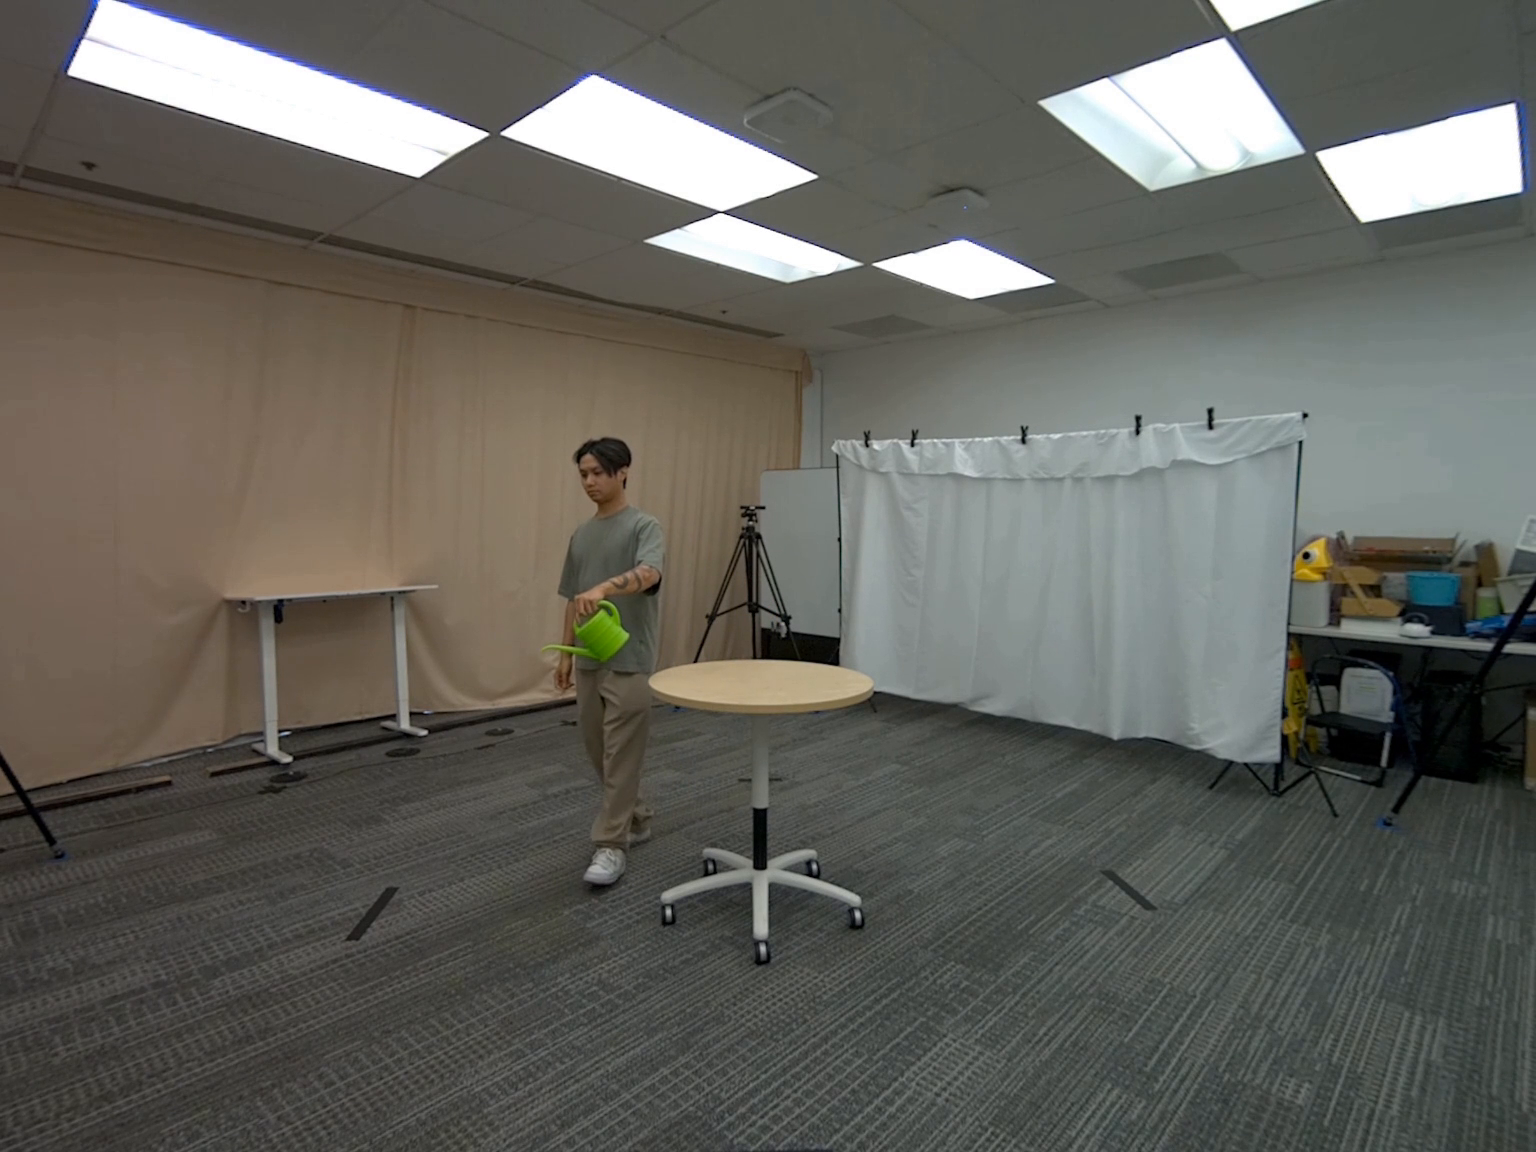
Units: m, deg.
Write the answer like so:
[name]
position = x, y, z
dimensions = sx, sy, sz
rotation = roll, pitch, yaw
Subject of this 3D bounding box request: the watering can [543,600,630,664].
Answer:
[watering can]
position = -0.604, 0.215, 2.849
dimensions = 0.279, 0.176, 0.098
rotation = -42, 5, 12
